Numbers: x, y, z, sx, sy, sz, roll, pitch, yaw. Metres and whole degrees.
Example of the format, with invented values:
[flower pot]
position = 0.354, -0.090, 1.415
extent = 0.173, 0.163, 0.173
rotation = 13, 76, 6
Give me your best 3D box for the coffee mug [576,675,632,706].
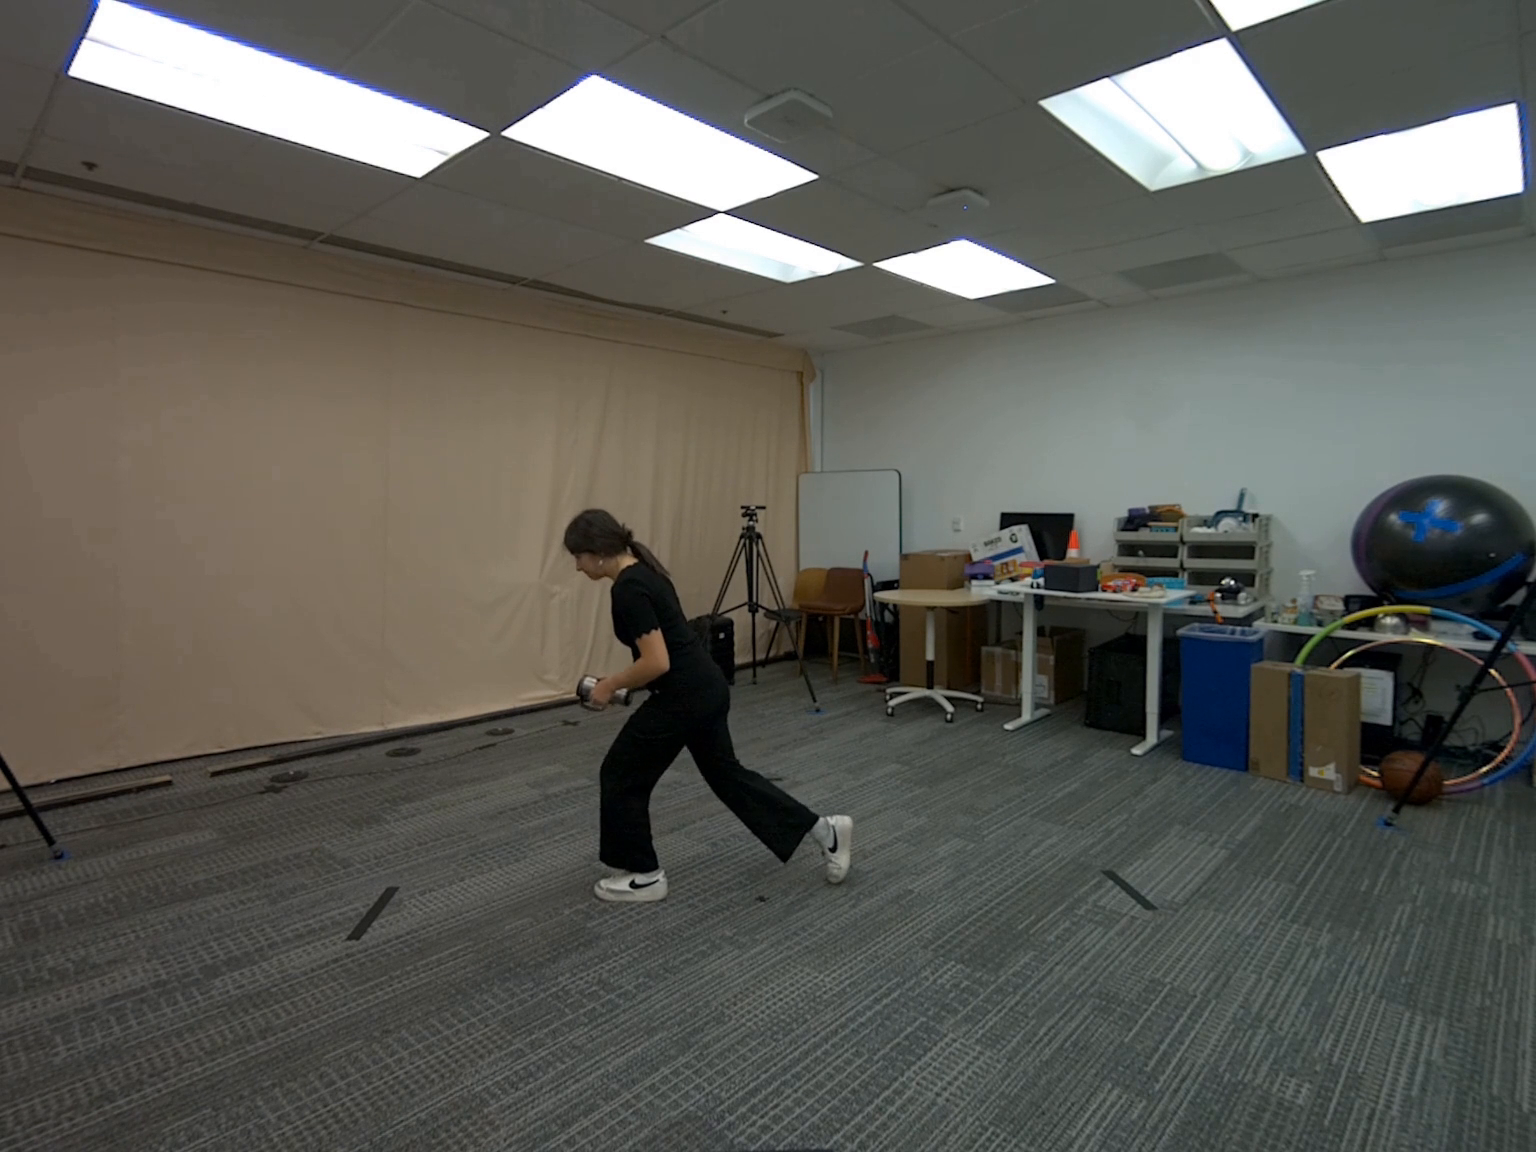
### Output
[coffee mug]
position = -0.608, 0.454, 3.145
extent = 0.205, 0.122, 0.086
rotation = 15, -22, 9
